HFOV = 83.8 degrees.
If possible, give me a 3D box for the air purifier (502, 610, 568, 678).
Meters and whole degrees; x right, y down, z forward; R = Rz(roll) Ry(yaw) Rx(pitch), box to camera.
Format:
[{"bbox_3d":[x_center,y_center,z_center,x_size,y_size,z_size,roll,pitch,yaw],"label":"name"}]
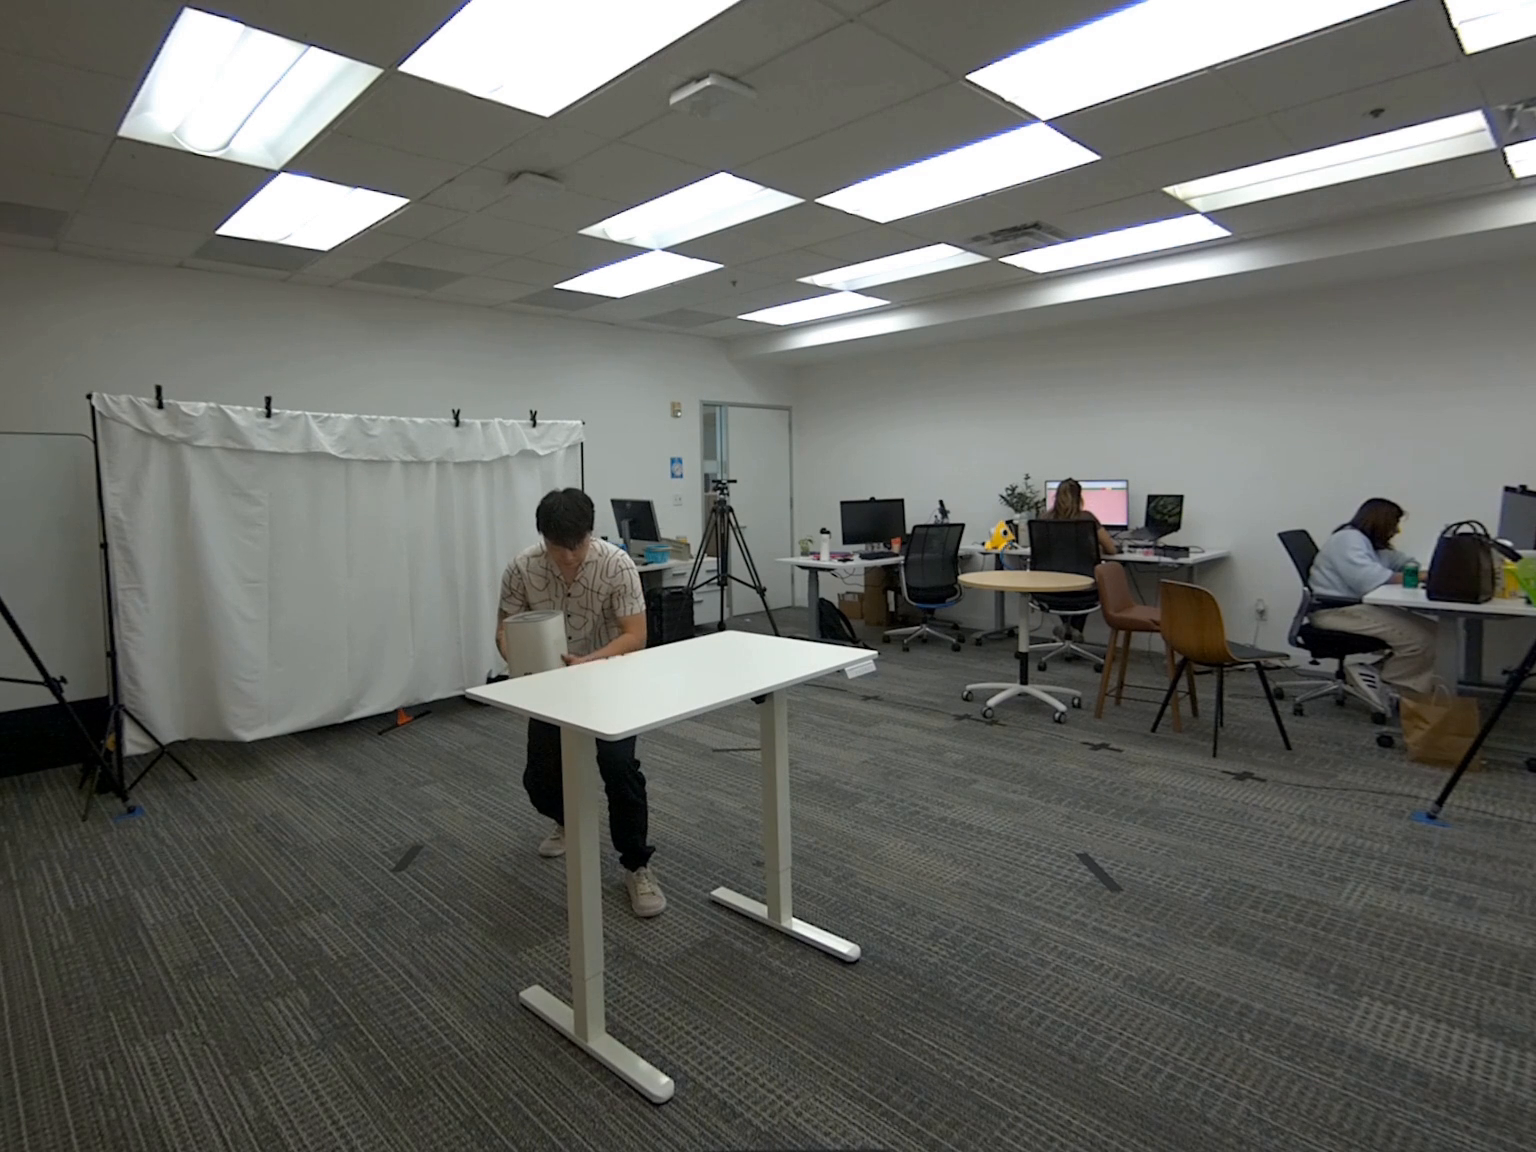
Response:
[{"bbox_3d":[-0.752,0.260,2.771,0.173,0.264,0.171,-5,6,9],"label":"air purifier"}]
